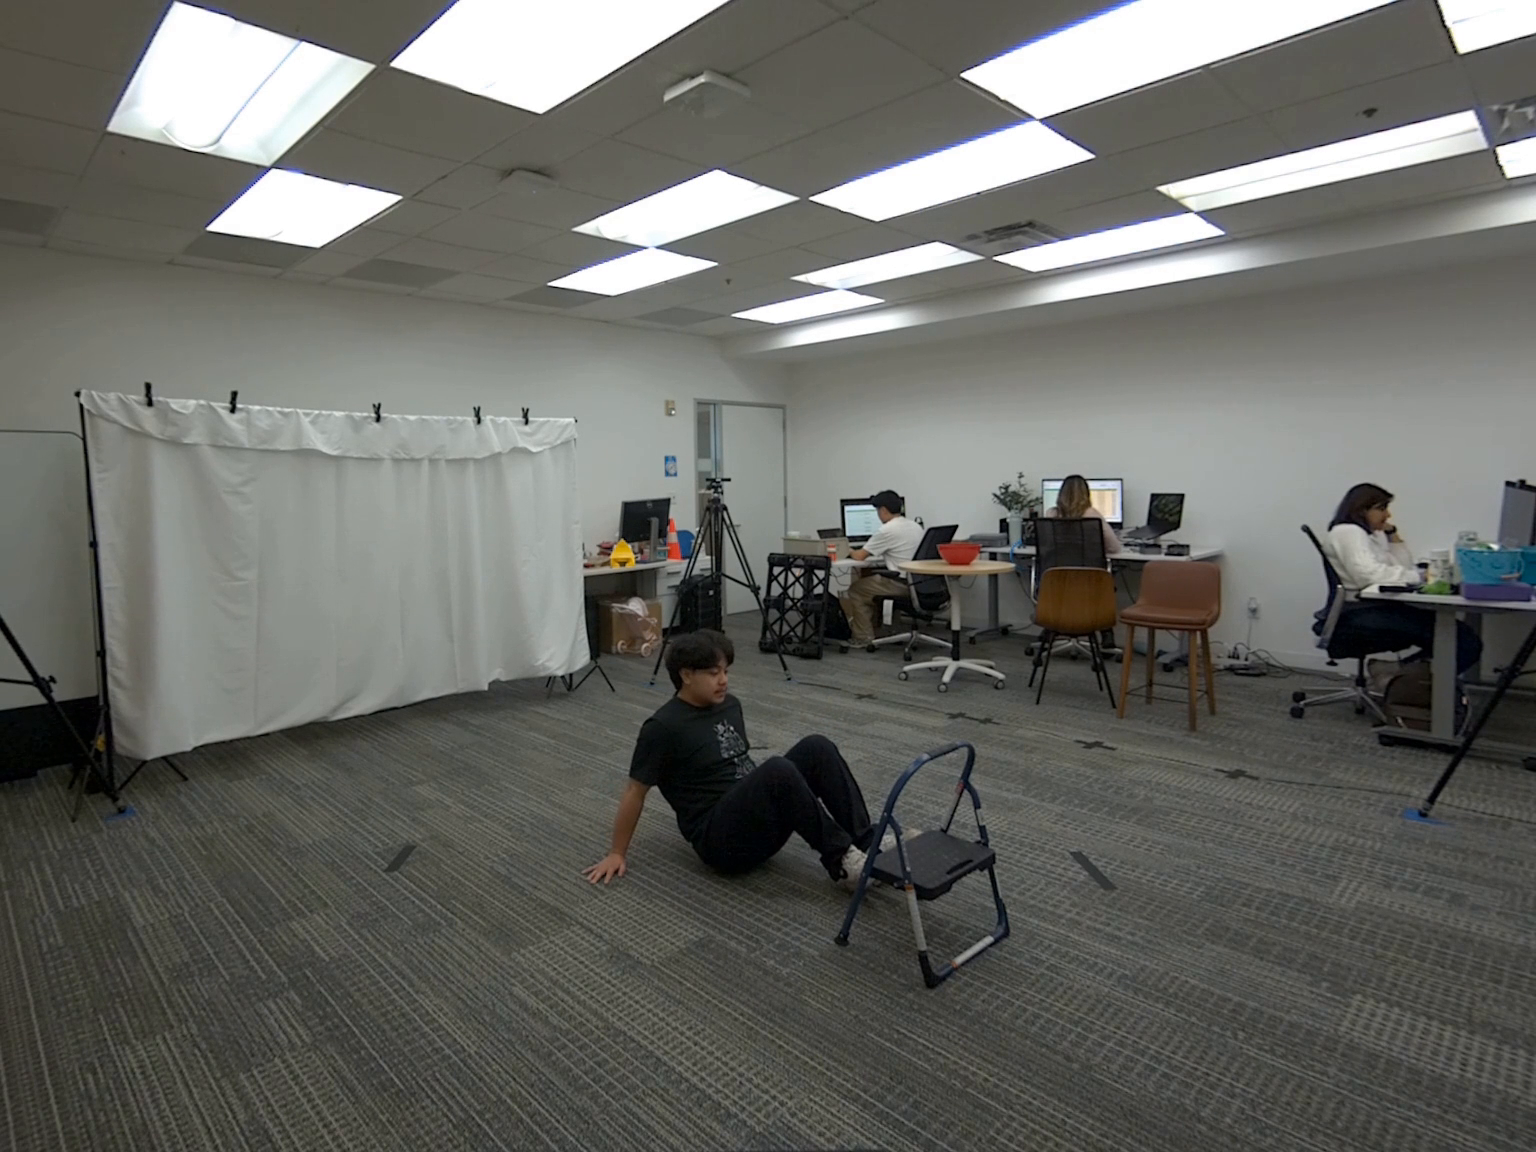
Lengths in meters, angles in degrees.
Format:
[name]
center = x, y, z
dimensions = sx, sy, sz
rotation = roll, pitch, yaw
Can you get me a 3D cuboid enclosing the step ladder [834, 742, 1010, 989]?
[step ladder]
center = 0.469, 0.793, 2.563
dimensions = 0.419, 0.604, 0.360
rotation = -6, 6, -44
